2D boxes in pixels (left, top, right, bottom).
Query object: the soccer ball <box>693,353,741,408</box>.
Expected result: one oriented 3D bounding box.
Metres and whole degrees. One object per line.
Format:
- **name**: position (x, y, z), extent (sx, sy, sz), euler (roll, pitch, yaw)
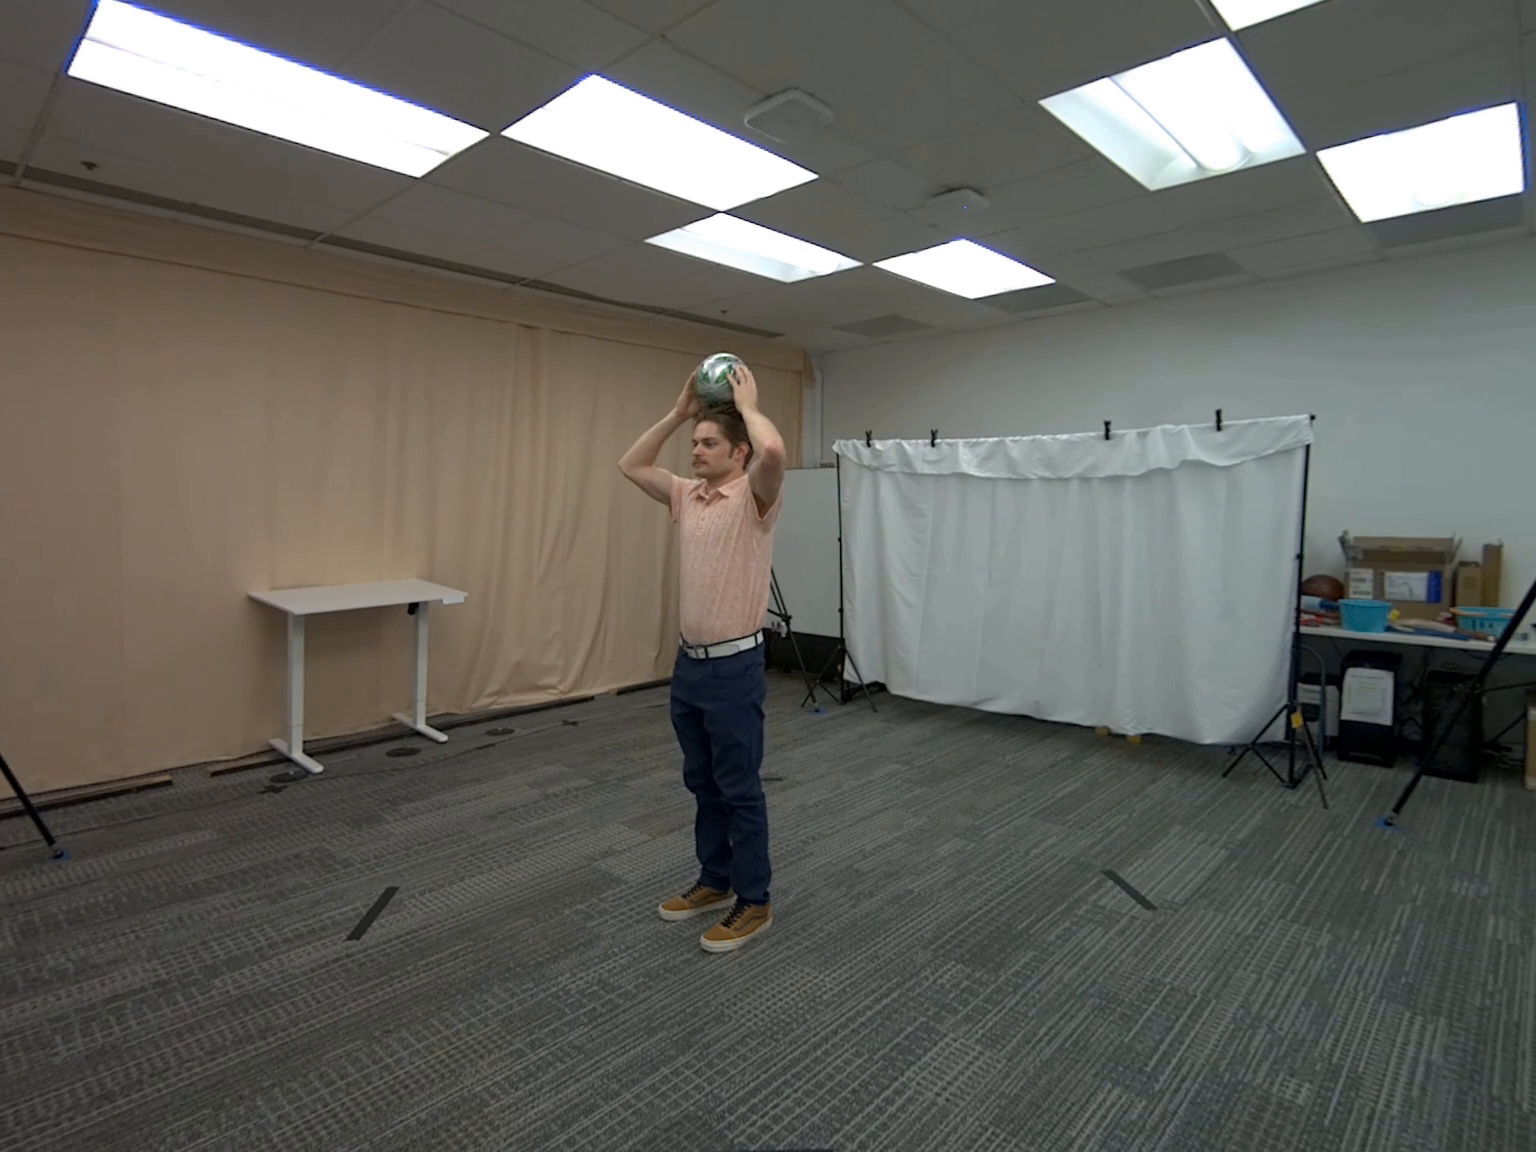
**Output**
- **soccer ball**: position (-0.138, -0.629, 2.769), extent (0.187, 0.187, 0.188), euler (0, 4, -2)
